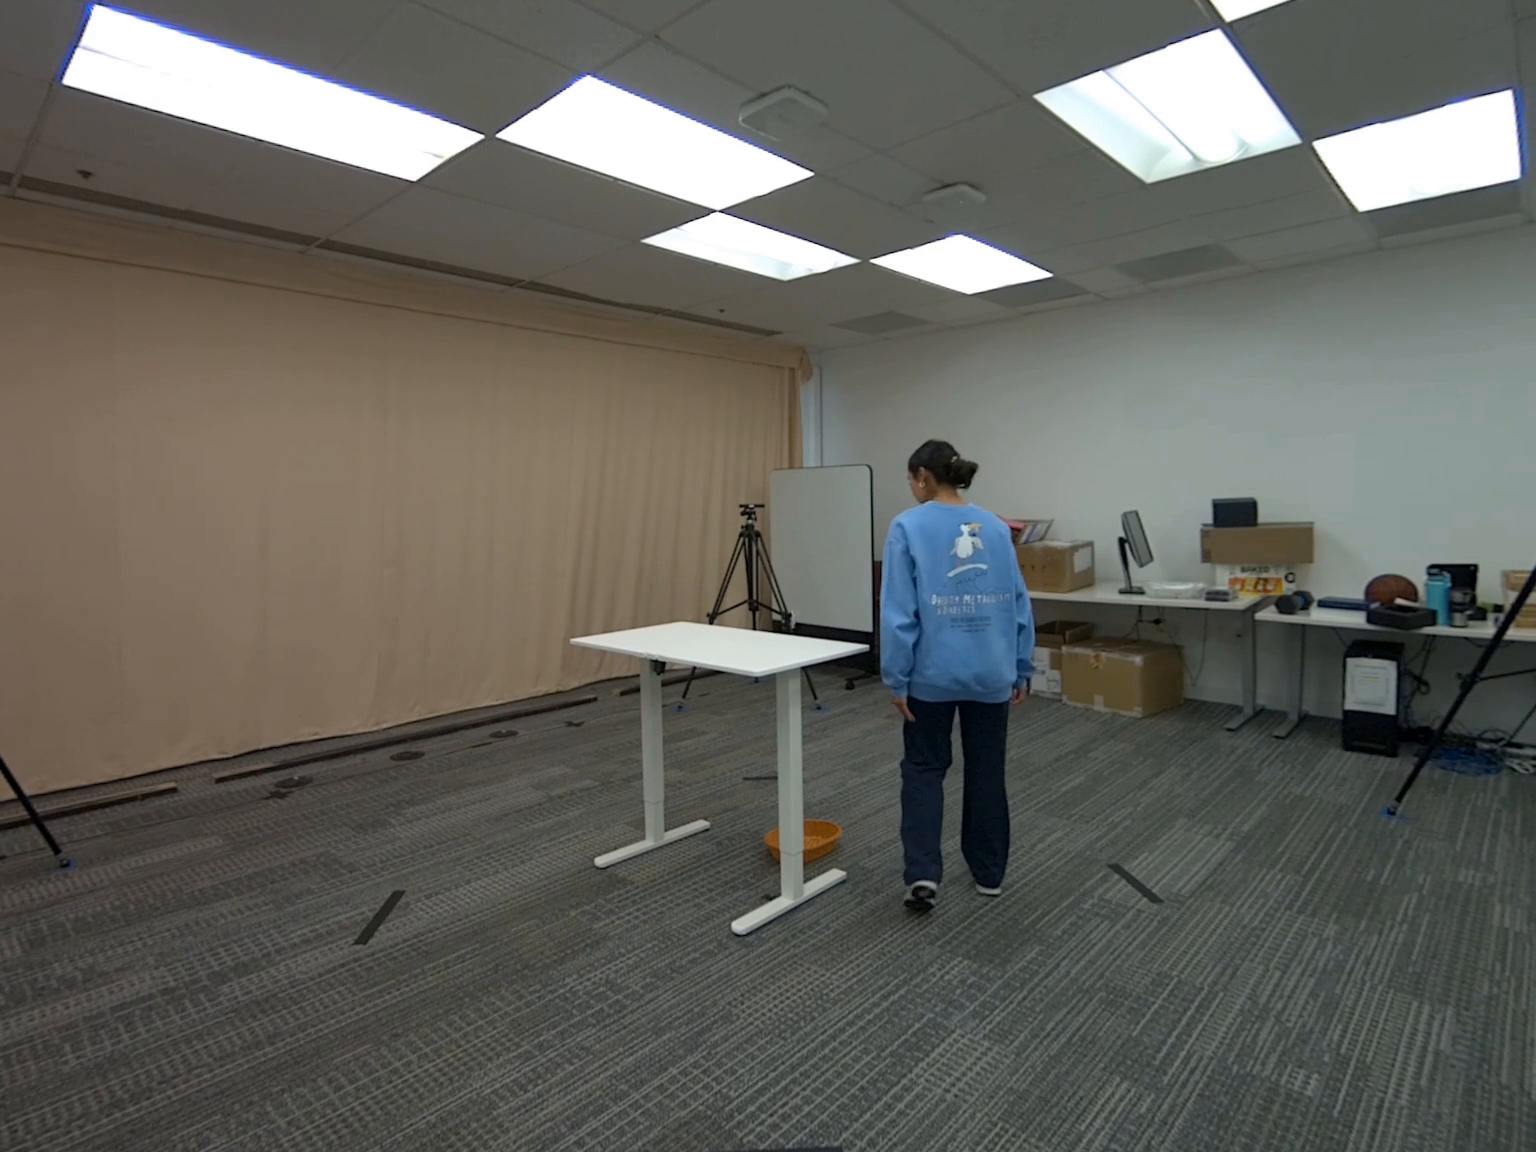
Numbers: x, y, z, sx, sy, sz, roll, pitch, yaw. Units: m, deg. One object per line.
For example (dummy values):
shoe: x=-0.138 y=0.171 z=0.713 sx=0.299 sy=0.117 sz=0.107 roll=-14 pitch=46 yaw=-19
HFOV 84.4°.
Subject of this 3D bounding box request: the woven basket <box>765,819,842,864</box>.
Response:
woven basket: x=0.140 y=1.059 z=3.365 sx=0.340 sy=0.073 sz=0.261 roll=-6 pitch=6 yaw=-44
